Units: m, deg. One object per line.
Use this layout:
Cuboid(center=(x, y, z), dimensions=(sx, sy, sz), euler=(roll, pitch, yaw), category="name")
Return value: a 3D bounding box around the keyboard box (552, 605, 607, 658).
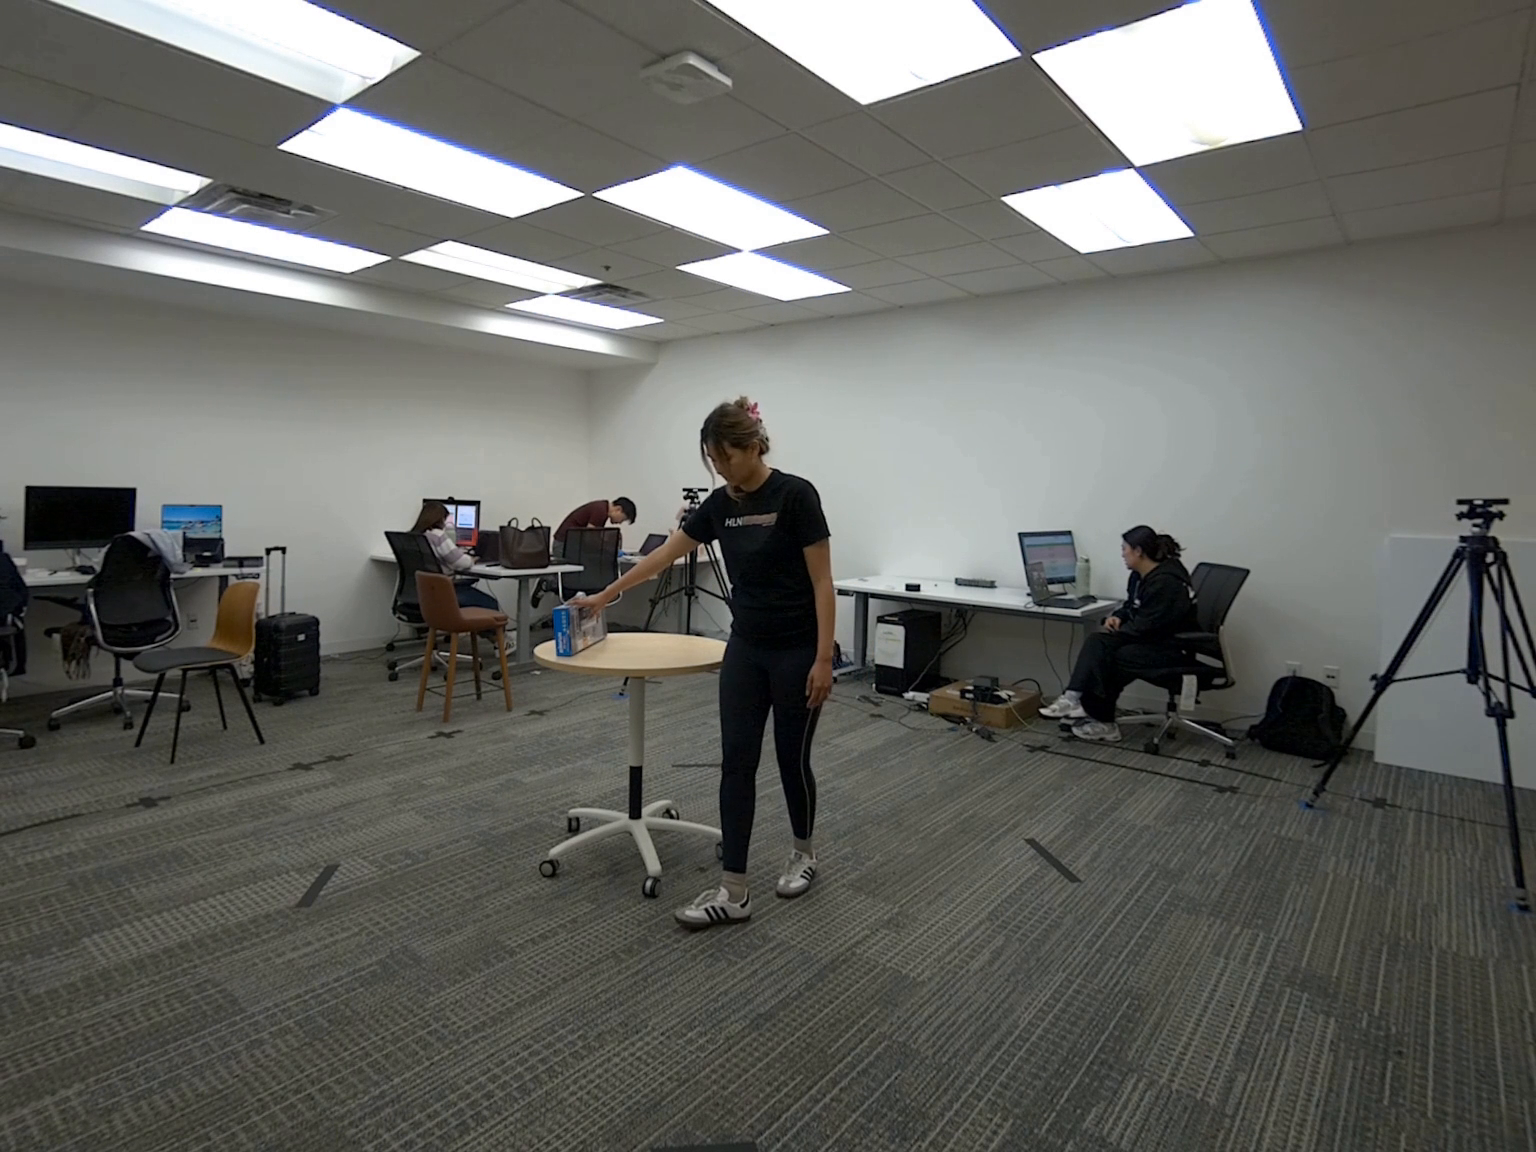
Cuboid(center=(-0.713, 0.179, 3.224), dimensions=(0.059, 0.175, 0.435), euler=(-1, 5, 6), category="keyboard box")
